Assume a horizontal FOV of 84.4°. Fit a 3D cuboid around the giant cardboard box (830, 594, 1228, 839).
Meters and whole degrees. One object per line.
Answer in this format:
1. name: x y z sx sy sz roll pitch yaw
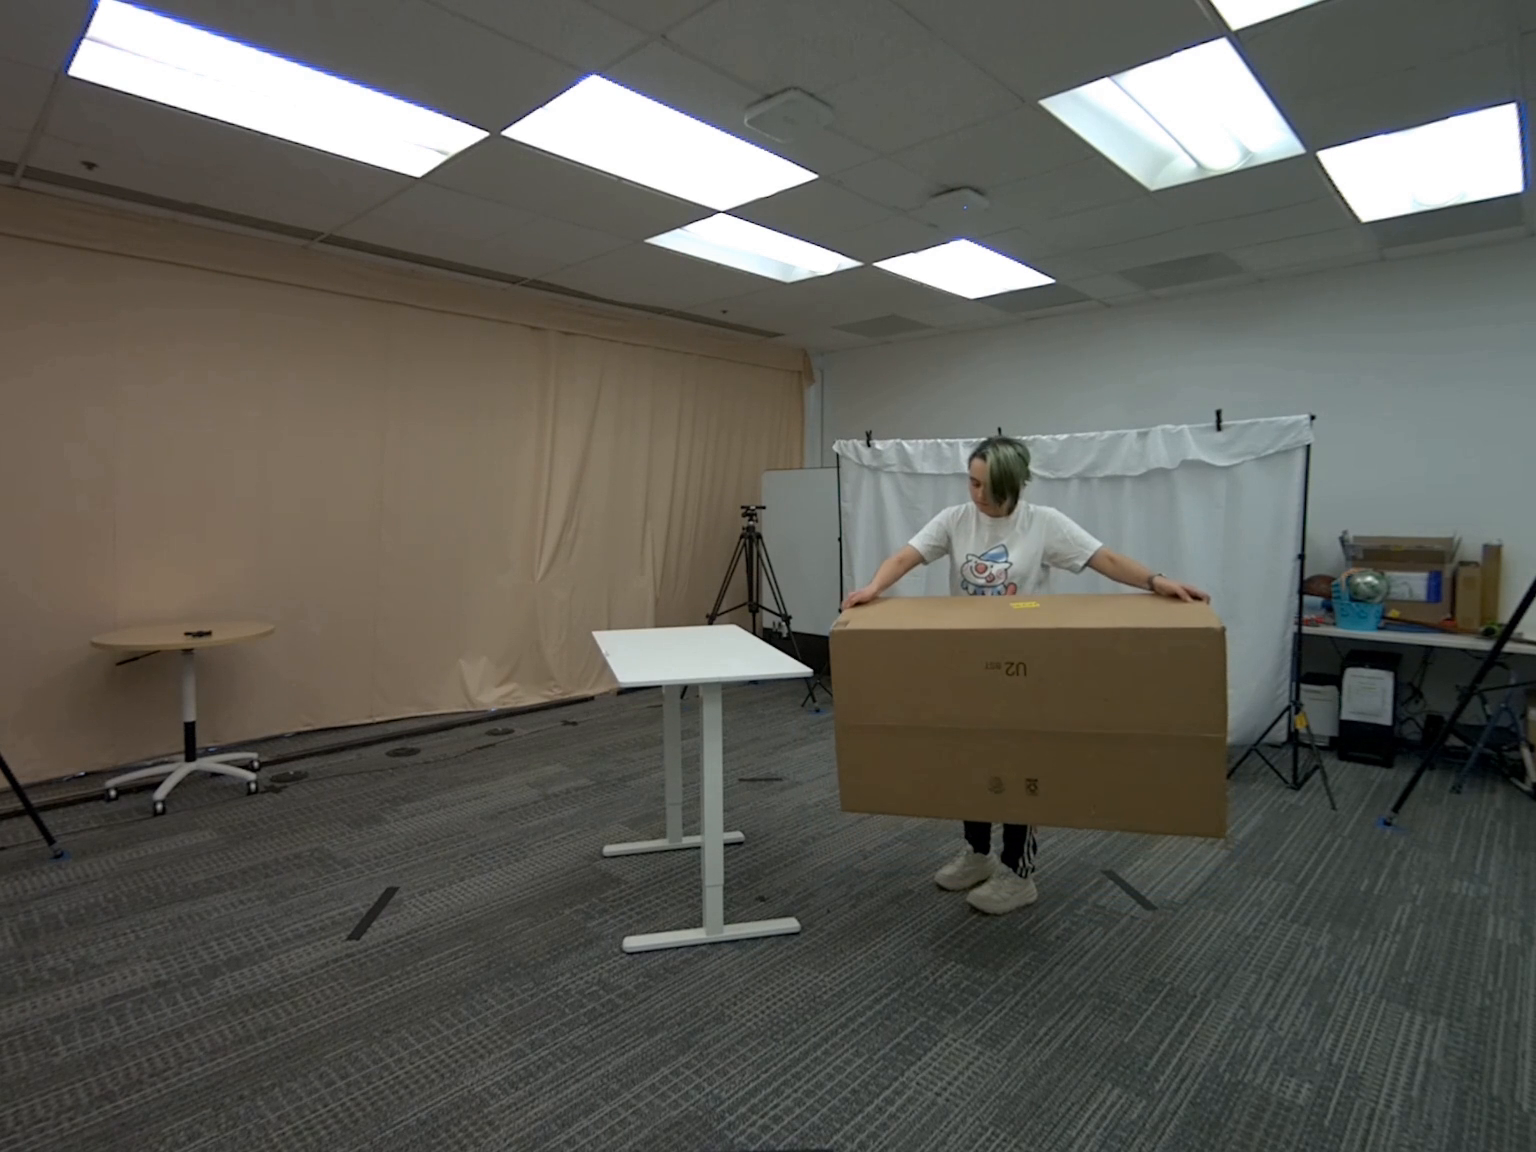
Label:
1. giant cardboard box: 0.753 0.387 2.519 1.048 0.581 0.440 -1 8 20
